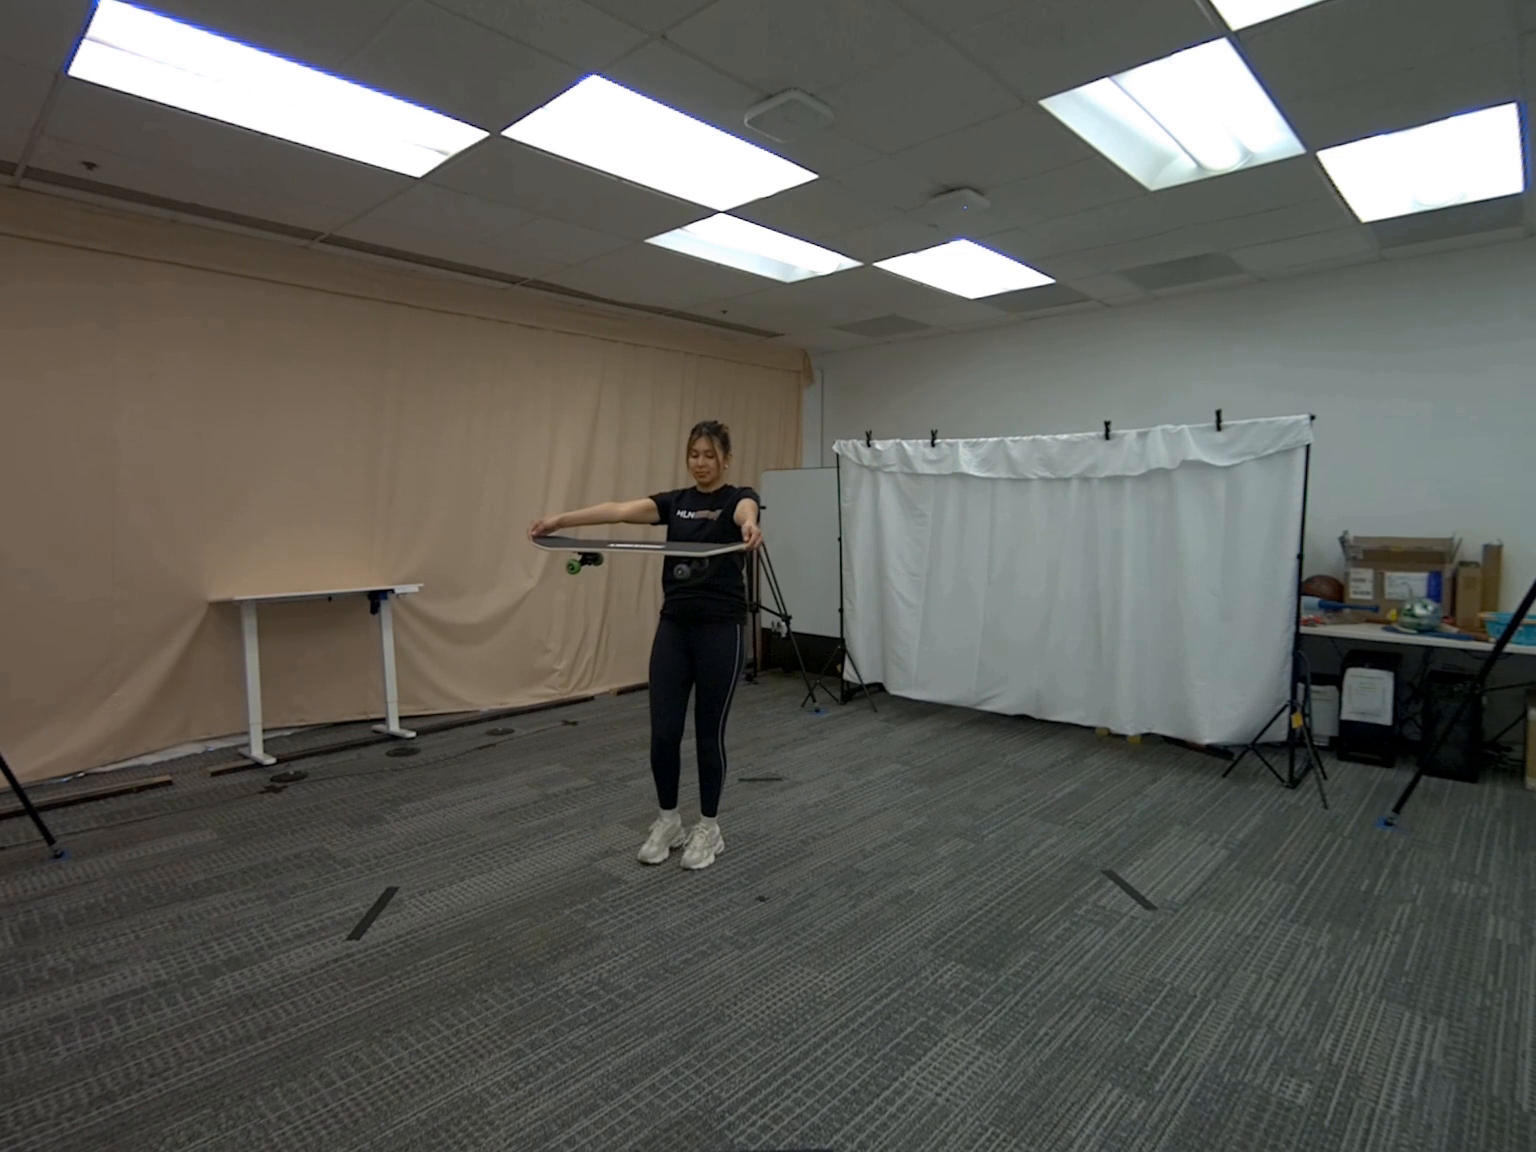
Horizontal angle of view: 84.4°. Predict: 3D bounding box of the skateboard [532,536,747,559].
[{"bbox_3d":[-0.422,-0.067,2.797,0.804,0.109,0.190,2,12,22],"label":"skateboard"}]
